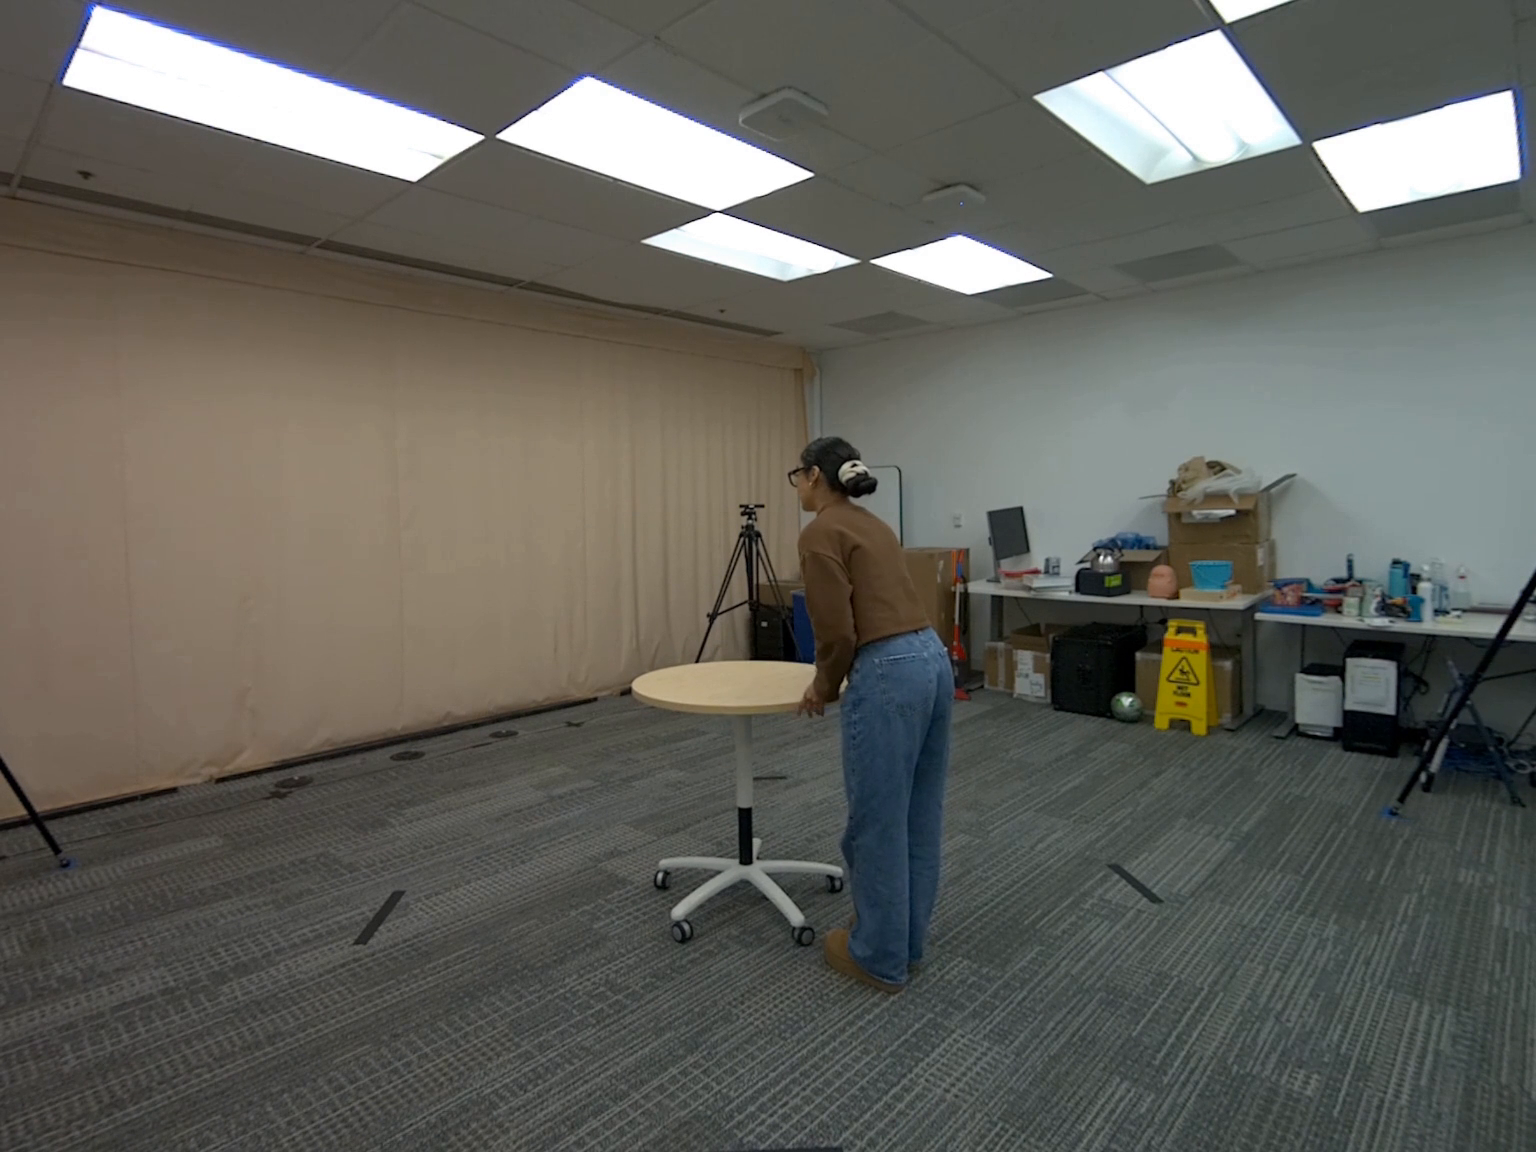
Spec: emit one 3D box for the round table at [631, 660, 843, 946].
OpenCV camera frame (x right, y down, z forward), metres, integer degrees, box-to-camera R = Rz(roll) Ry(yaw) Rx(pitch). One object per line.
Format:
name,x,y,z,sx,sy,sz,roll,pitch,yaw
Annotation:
round table,-0.077,0.755,2.930,0.763,0.792,0.766,-1,3,-2
